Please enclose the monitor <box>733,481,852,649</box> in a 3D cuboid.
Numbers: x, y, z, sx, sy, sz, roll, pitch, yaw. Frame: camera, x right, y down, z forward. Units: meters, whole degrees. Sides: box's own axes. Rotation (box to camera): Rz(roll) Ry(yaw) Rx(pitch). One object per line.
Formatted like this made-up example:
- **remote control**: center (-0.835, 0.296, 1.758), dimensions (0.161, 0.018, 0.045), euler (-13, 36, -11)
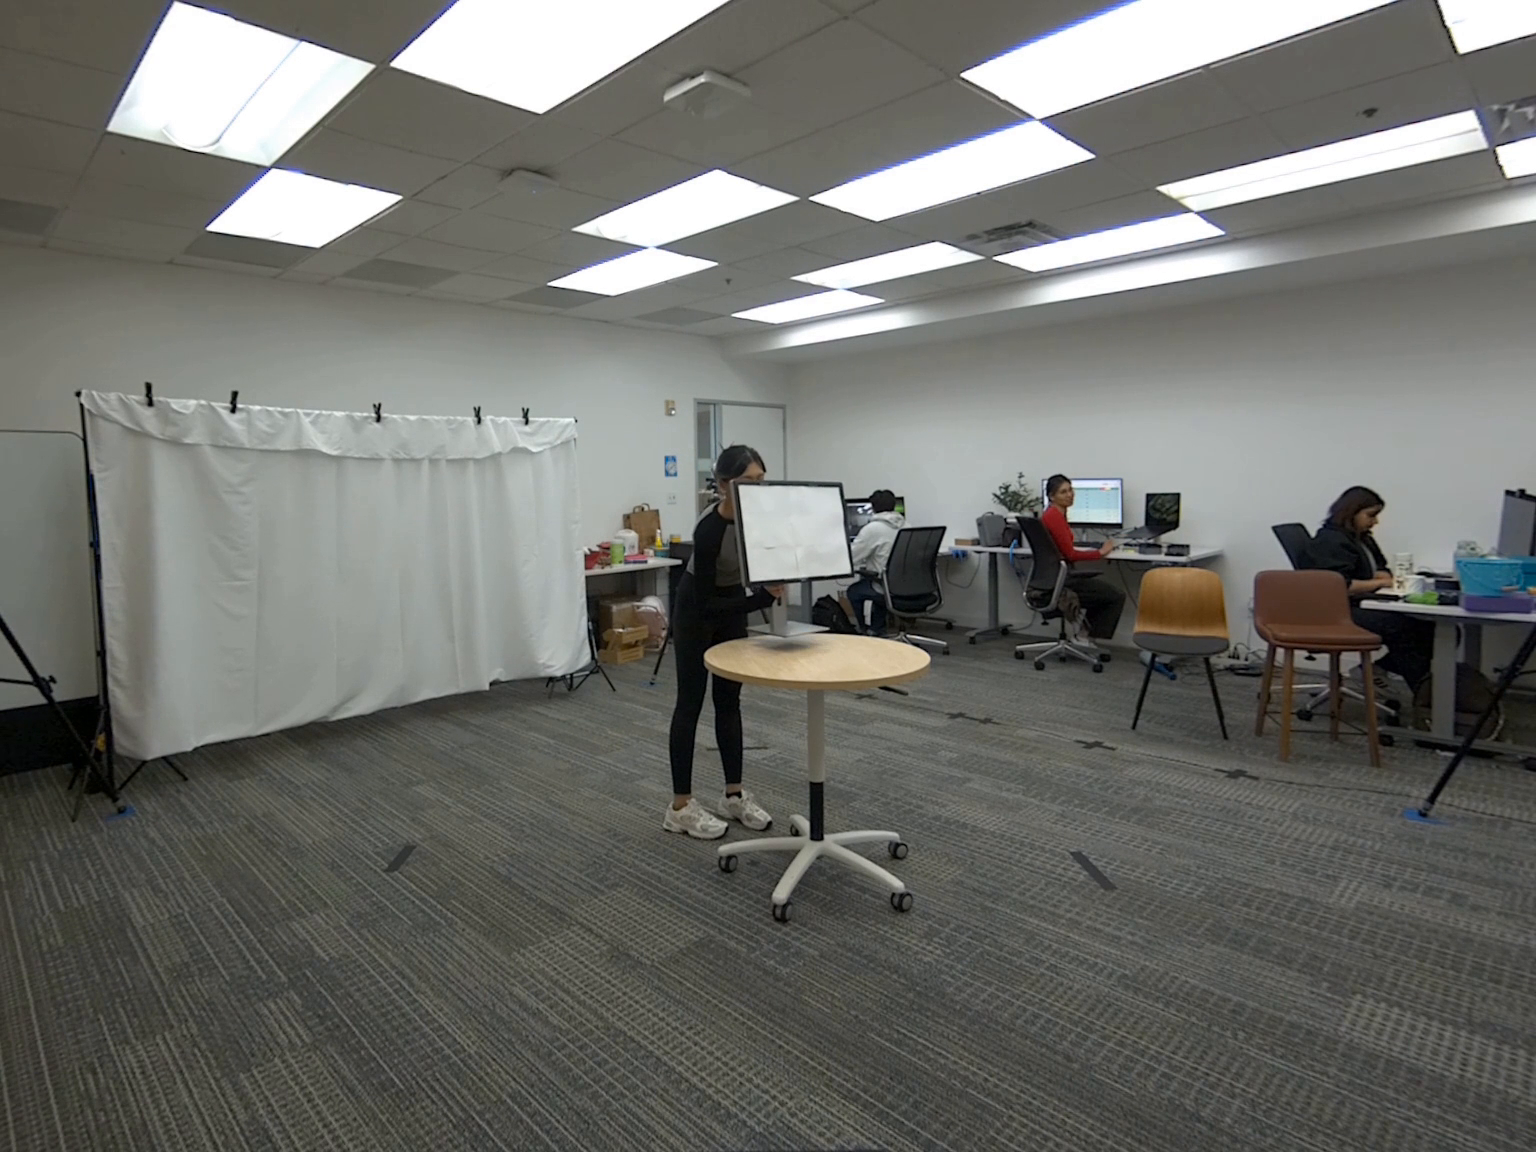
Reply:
- **monitor**: center (0.071, -0.065, 3.072), dimensions (0.193, 0.520, 0.524), euler (6, 7, 44)
